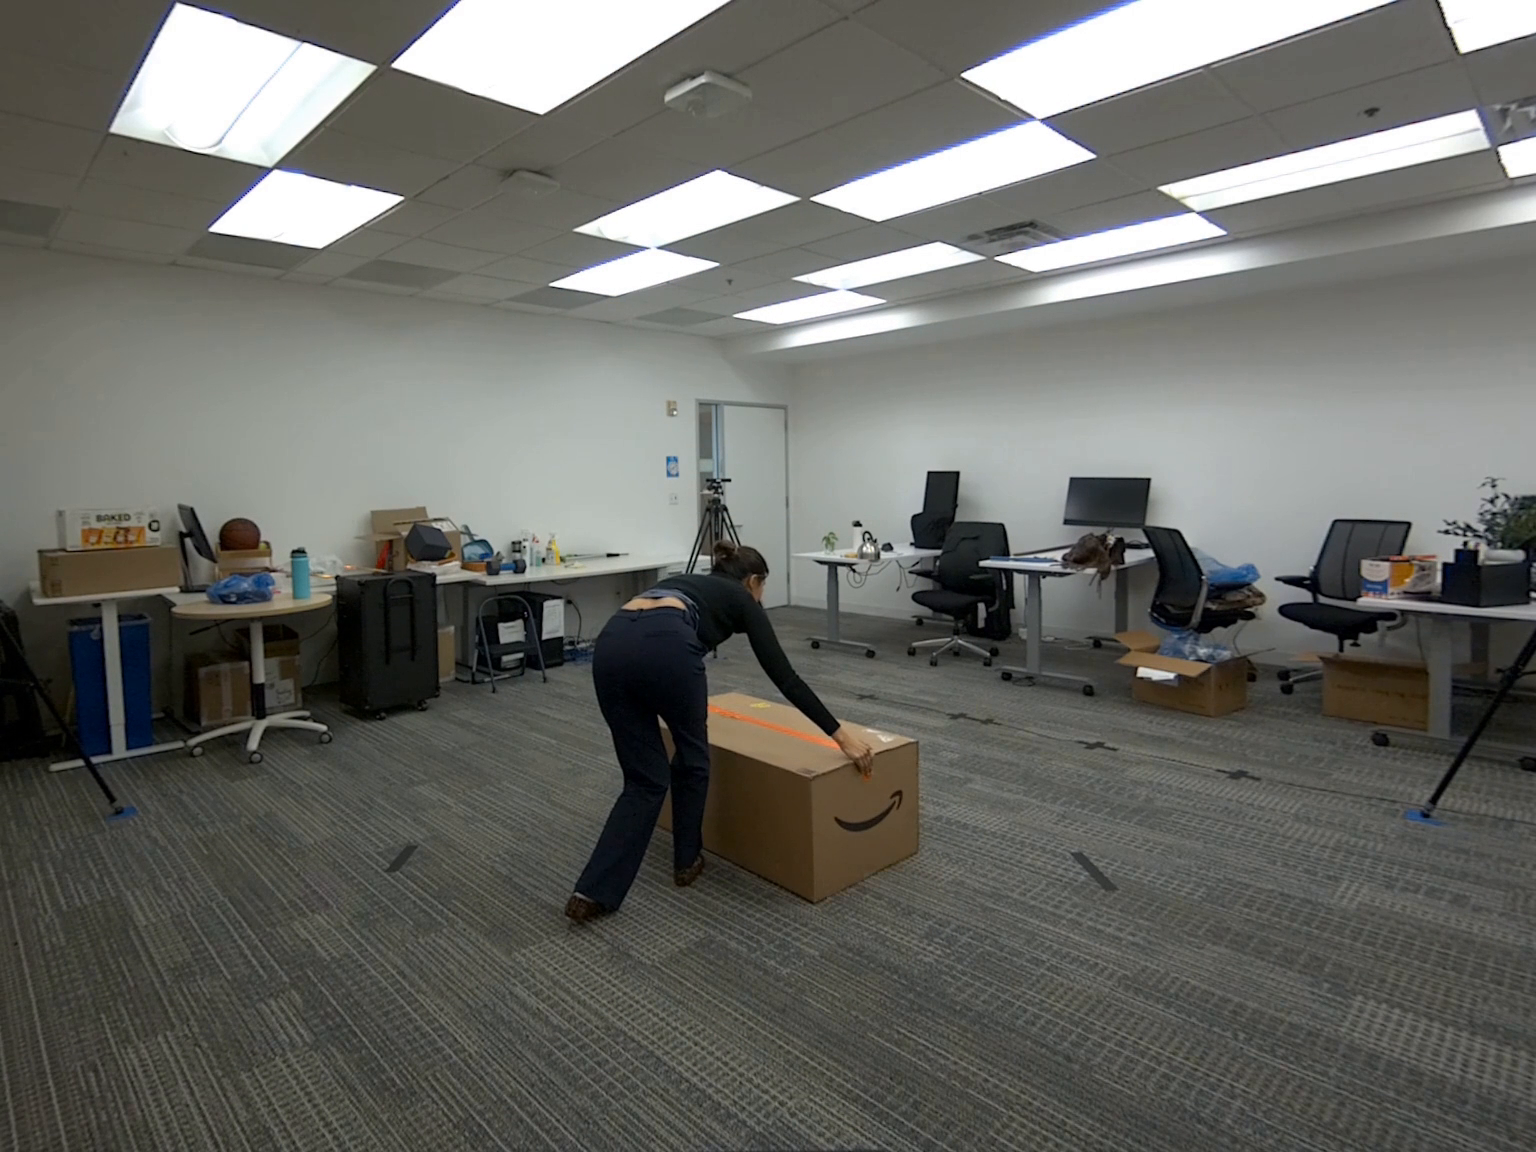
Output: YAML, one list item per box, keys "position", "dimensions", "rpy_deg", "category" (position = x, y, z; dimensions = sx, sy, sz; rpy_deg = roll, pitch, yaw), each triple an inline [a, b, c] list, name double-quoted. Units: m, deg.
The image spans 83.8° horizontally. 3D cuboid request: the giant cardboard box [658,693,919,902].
- position: [0.004, 0.799, 3.361]
  dimensions: [0.562, 0.424, 1.058]
  rpy_deg: [-6, 8, -42]
  category: "giant cardboard box"
